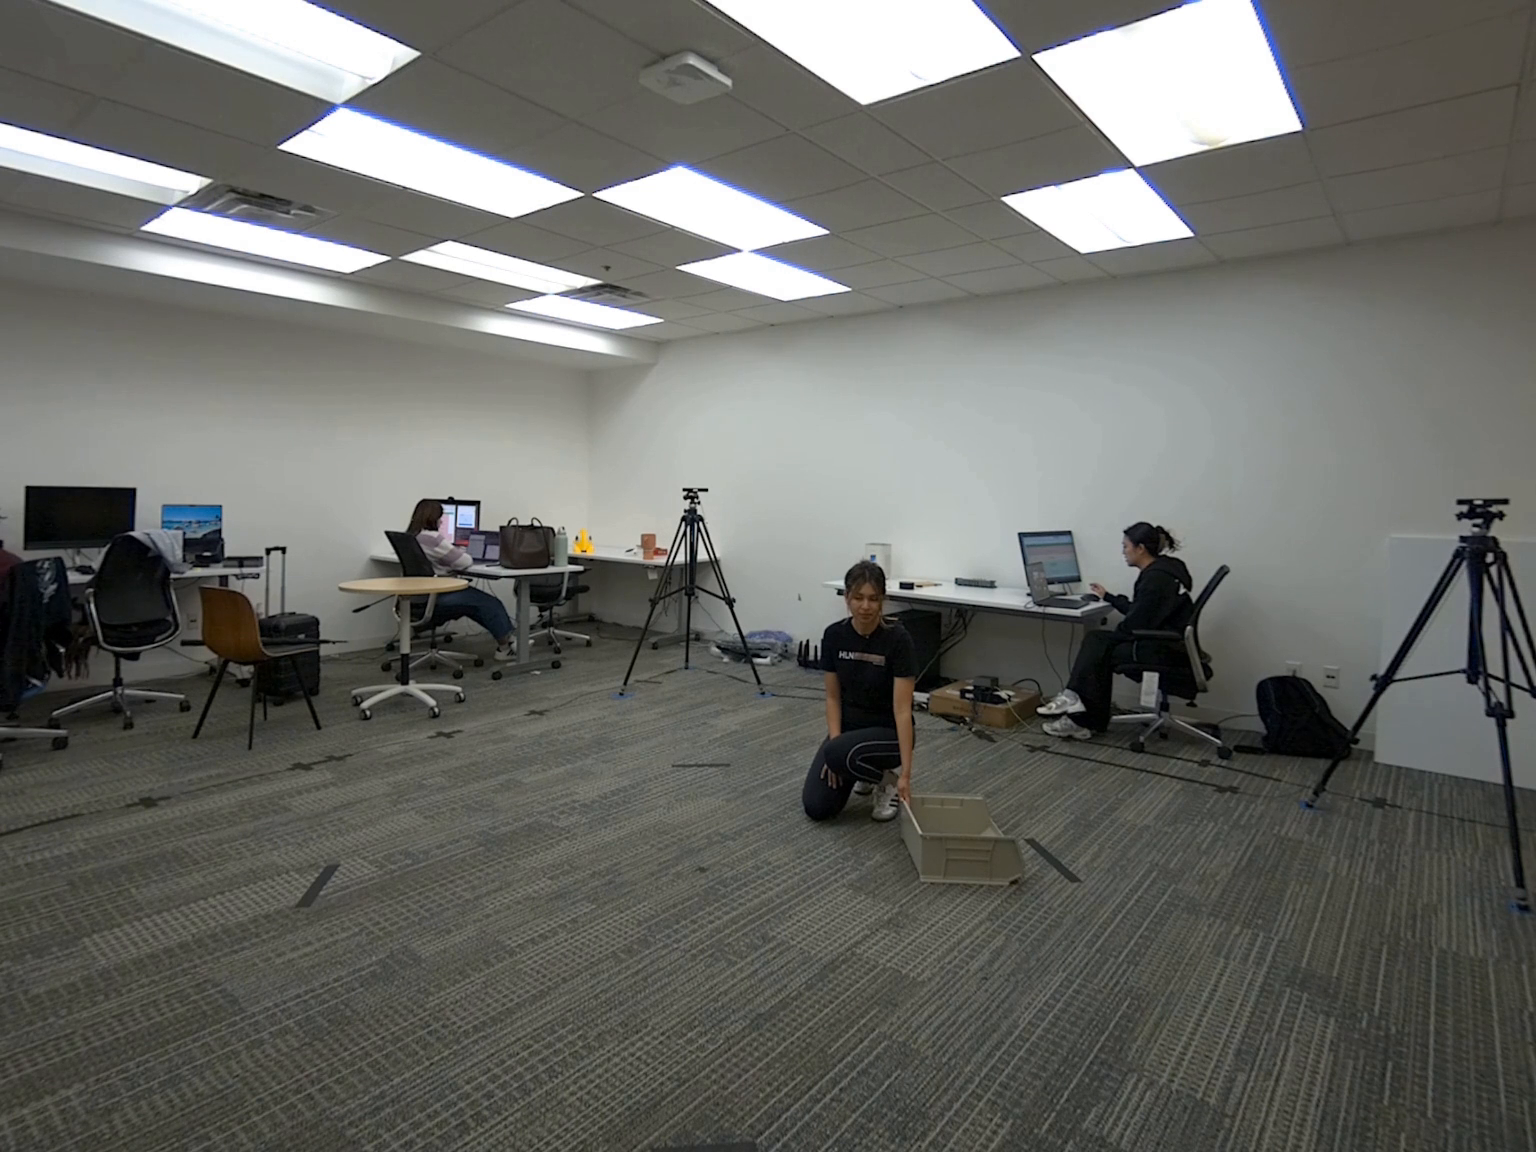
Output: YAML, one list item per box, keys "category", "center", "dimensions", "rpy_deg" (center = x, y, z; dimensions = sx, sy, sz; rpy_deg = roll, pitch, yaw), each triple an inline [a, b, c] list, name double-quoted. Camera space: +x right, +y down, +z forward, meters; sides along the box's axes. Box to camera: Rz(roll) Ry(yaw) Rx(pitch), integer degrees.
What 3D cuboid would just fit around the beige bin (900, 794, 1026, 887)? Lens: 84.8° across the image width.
- category: "beige bin"
  center: [0.725, 0.990, 3.244]
  dimensions: [0.377, 0.188, 0.424]
  rpy_deg: [0, 5, -1]
